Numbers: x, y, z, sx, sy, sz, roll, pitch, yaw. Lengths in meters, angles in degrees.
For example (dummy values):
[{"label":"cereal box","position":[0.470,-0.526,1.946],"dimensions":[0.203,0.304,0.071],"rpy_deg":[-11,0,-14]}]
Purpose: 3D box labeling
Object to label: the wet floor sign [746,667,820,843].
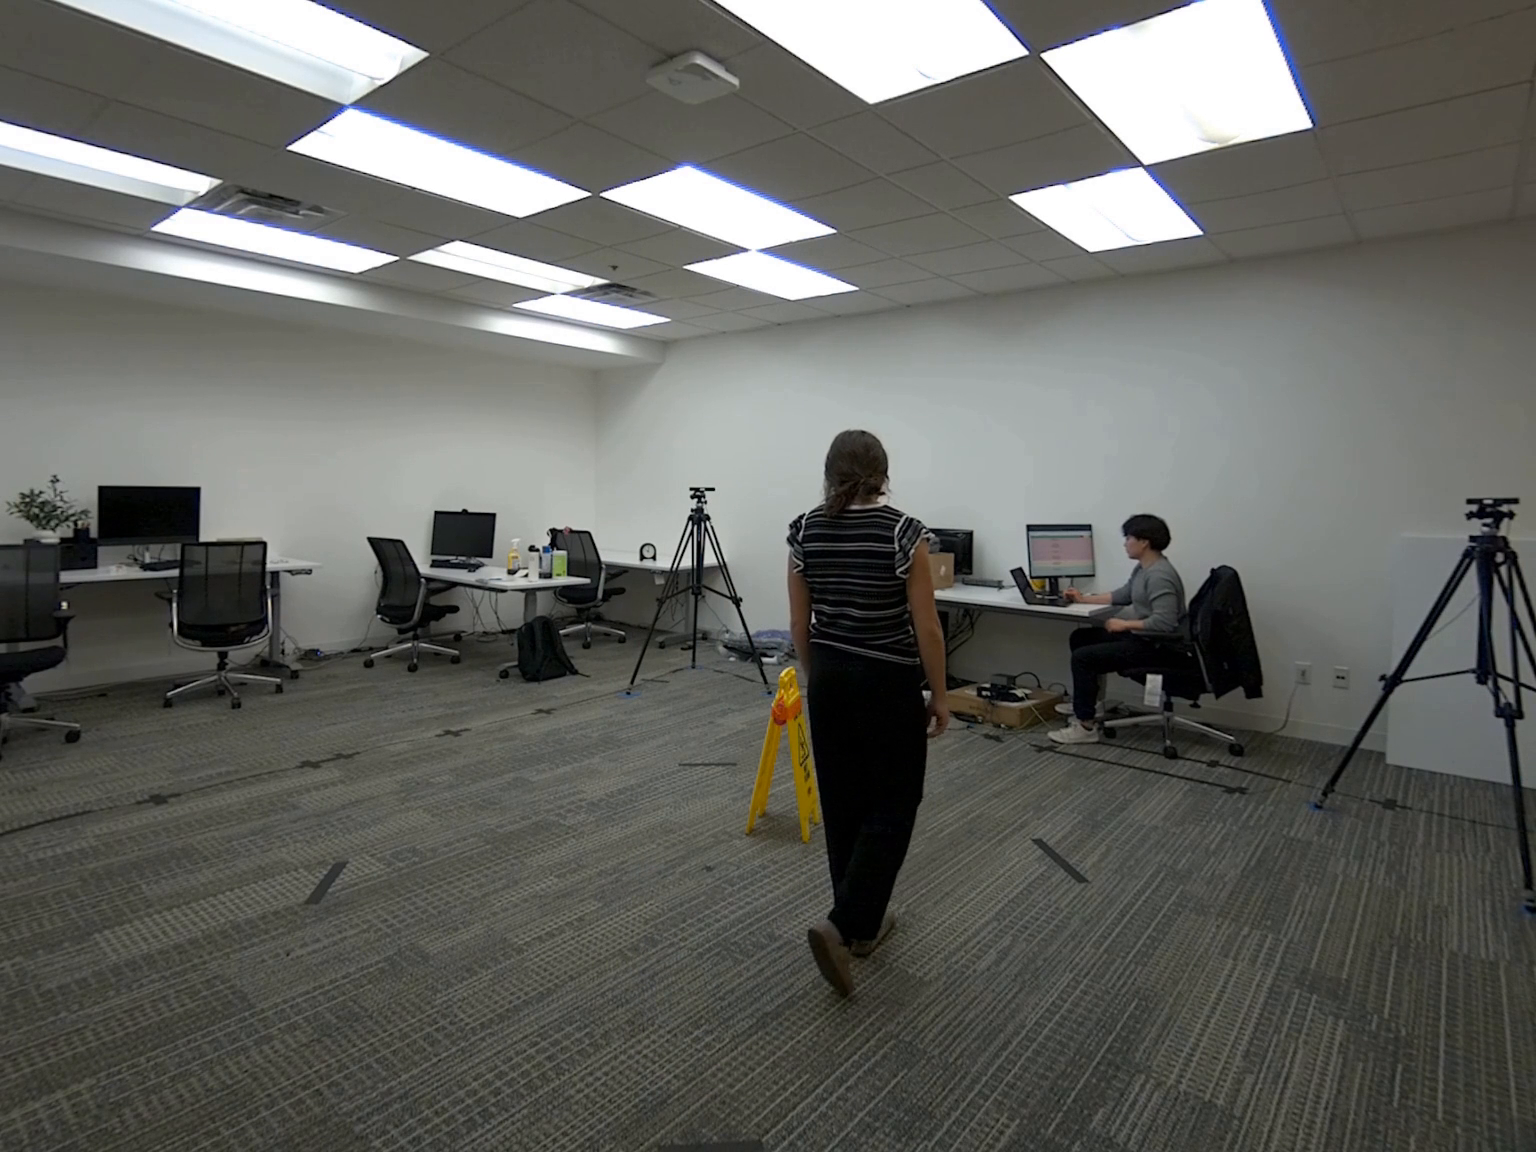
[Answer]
[{"label":"wet floor sign","position":[0.068,0.707,3.499],"dimensions":[0.295,0.643,0.278],"rpy_deg":[3,5,15]}]
